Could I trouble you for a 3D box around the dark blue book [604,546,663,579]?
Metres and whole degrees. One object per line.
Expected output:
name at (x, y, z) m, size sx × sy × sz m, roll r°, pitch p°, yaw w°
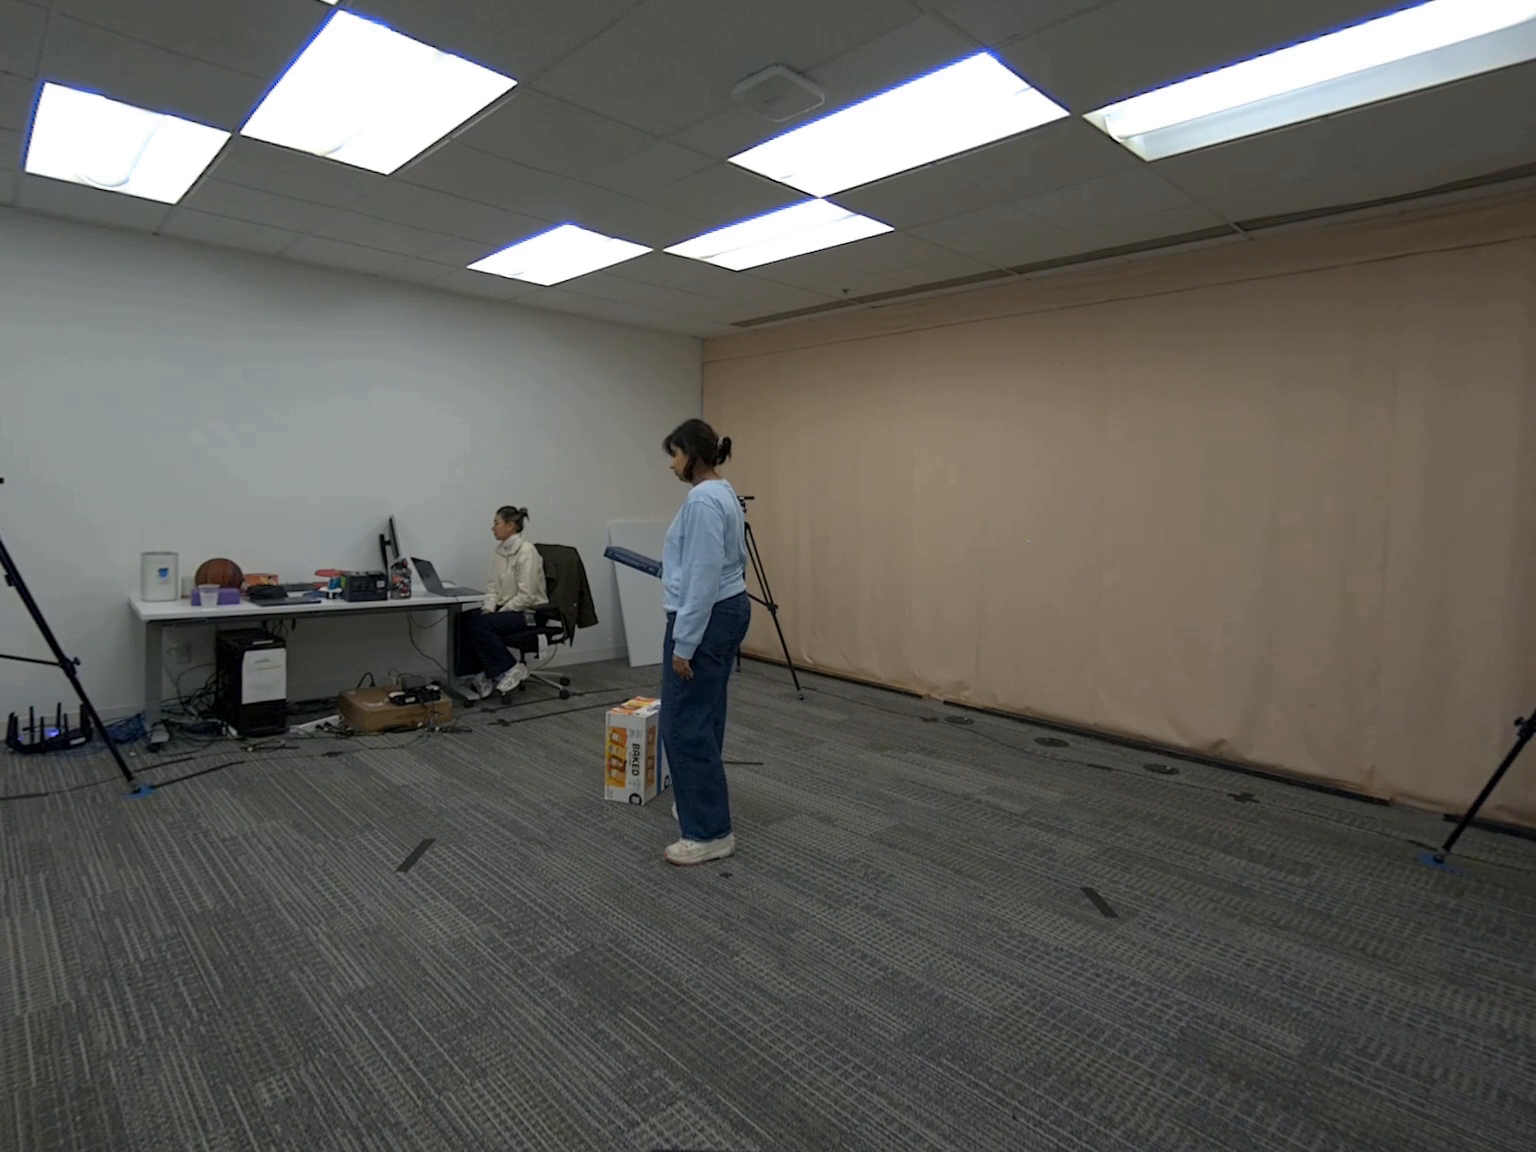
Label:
dark blue book at (-0.564, -0.064, 3.535) m, size 0.247 × 0.045 × 0.163 m, roll 20°, pitch 7°, yaw 7°
